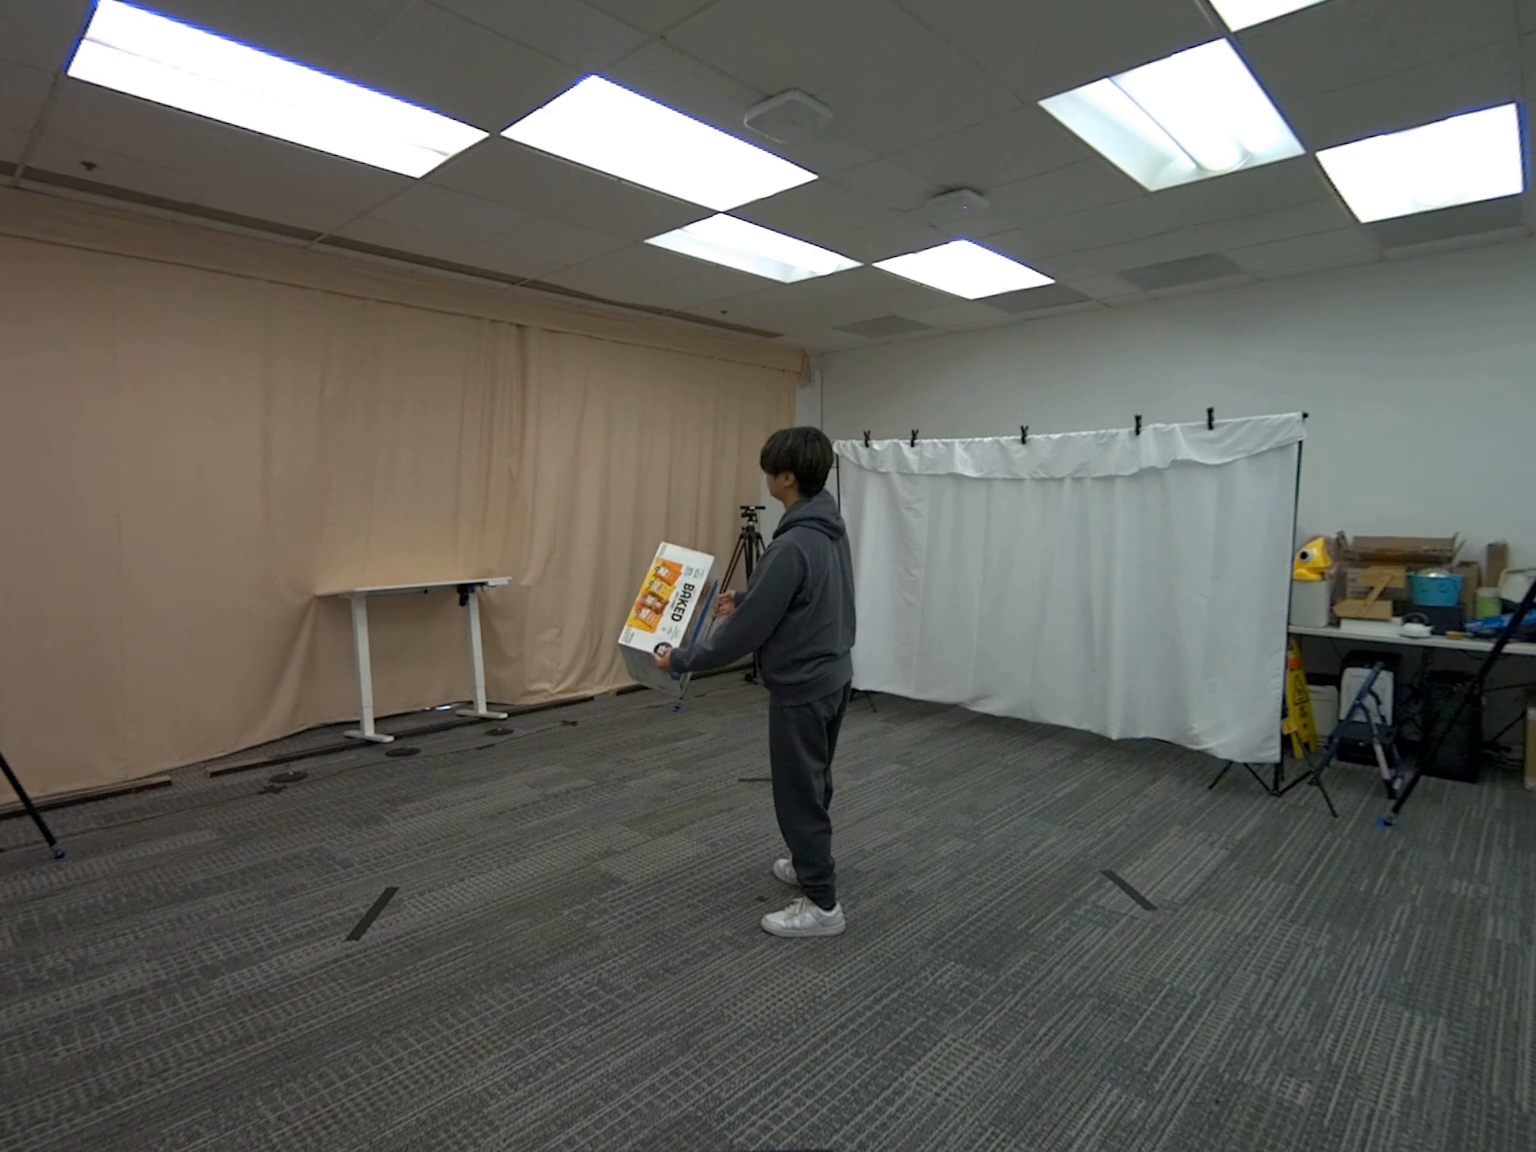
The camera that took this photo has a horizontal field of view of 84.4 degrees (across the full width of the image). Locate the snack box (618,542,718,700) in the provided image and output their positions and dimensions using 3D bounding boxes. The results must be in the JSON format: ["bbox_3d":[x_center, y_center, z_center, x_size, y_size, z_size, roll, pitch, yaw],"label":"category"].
[{"bbox_3d":[-0.338,0.157,2.987,0.208,0.407,0.334,15,-28,10],"label":"snack box"}]
